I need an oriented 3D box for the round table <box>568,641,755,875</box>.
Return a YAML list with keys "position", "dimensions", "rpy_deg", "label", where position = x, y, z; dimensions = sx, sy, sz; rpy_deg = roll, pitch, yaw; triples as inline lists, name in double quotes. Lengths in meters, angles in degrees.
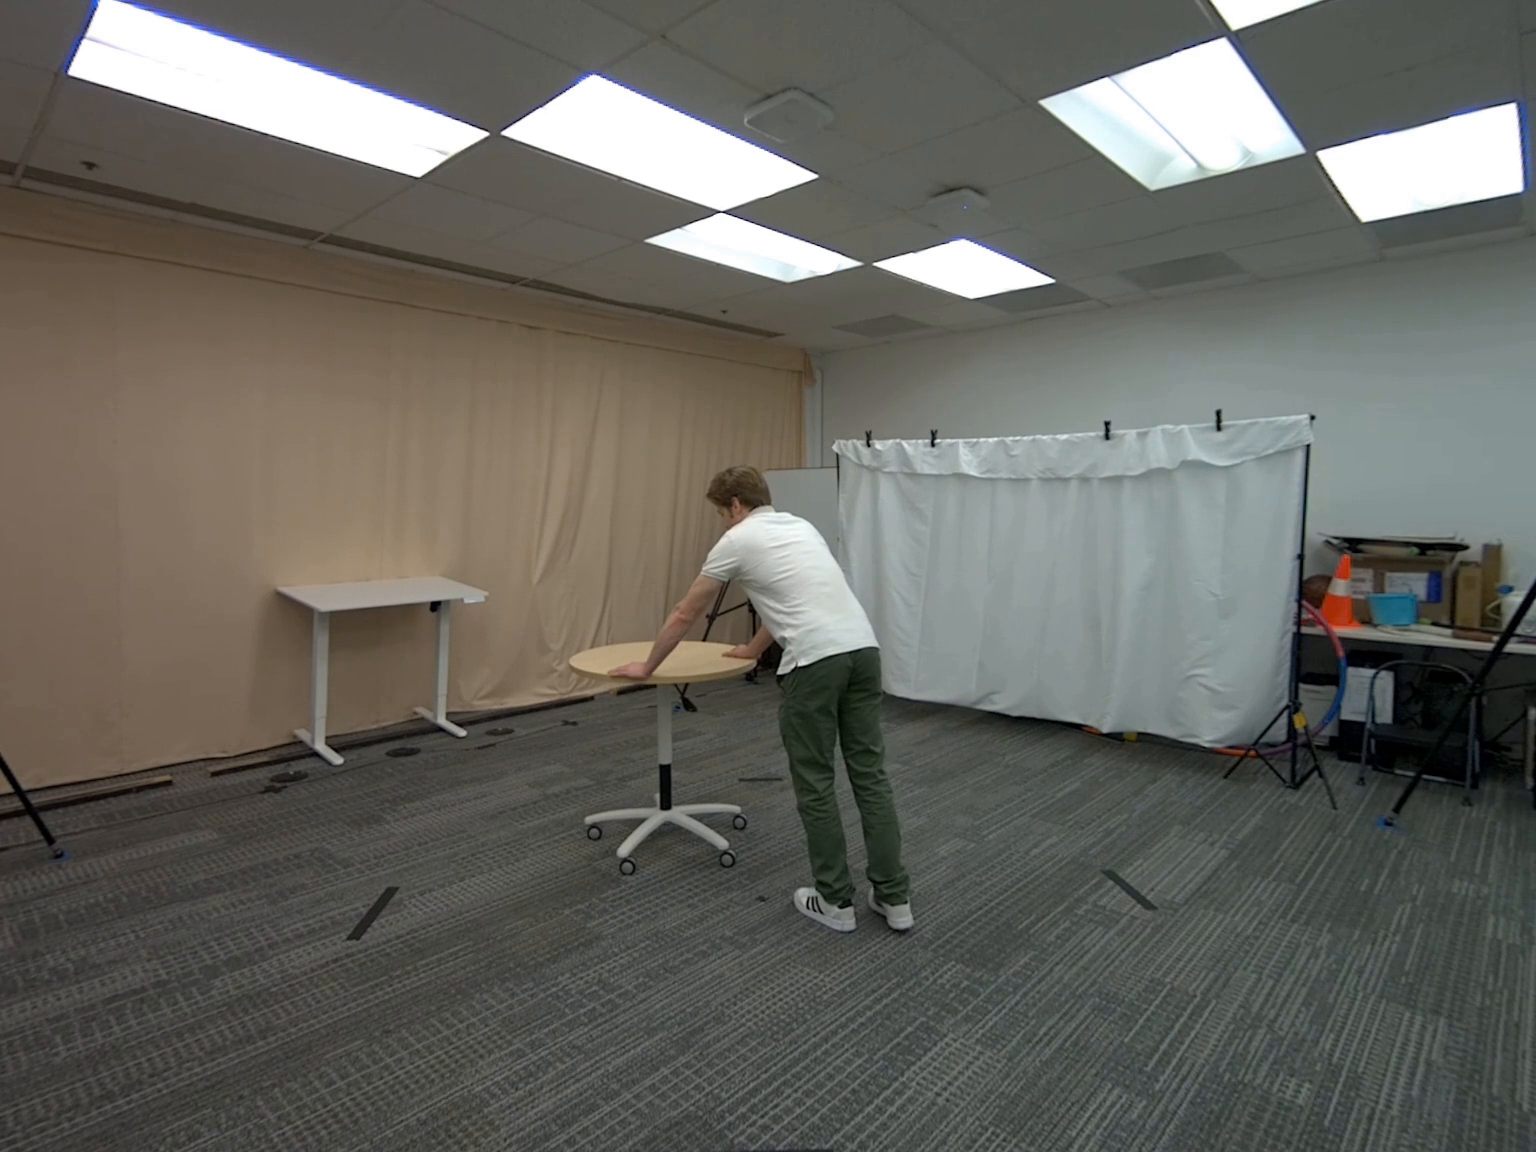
- position: [-0.422, 0.721, 3.479]
  dimensions: [0.763, 0.792, 0.766]
  rpy_deg: [-1, 4, -2]
  label: "round table"
